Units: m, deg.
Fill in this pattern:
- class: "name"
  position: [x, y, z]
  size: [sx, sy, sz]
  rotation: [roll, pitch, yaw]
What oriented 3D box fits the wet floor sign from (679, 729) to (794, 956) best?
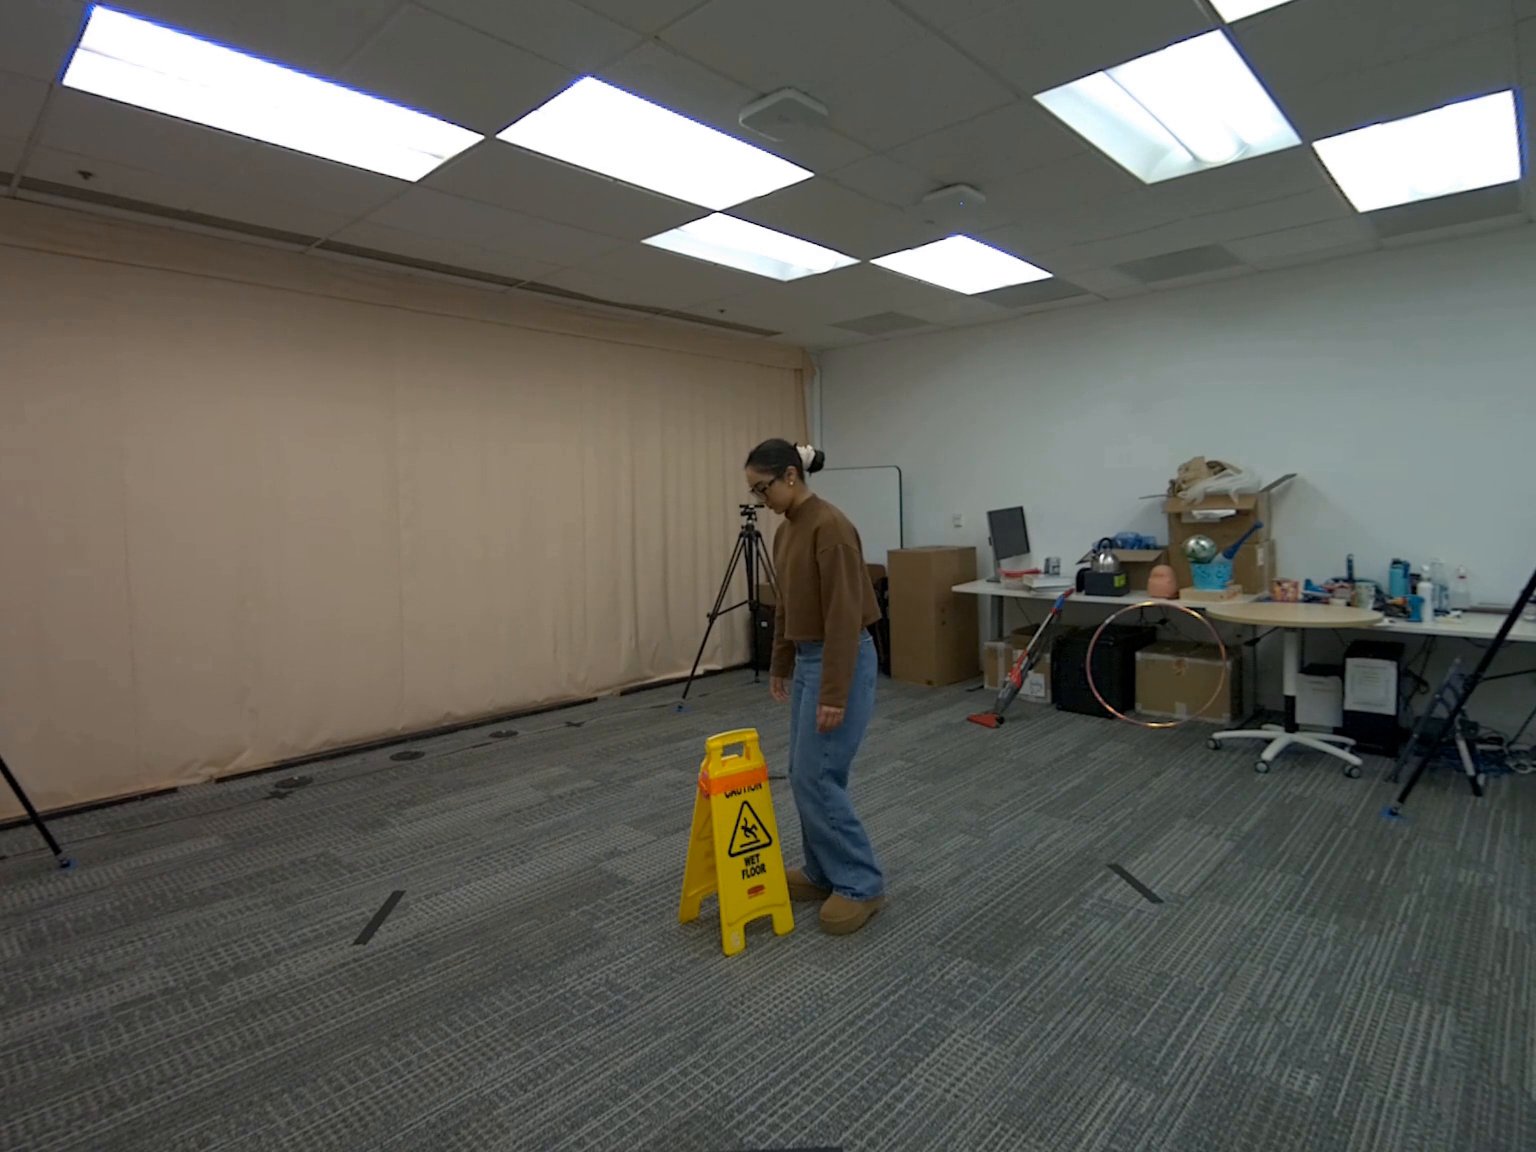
- class: "wet floor sign"
  position: [-0.114, 0.838, 2.772]
  size: [0.274, 0.645, 0.299]
  rotation: [-3, 4, -37]
